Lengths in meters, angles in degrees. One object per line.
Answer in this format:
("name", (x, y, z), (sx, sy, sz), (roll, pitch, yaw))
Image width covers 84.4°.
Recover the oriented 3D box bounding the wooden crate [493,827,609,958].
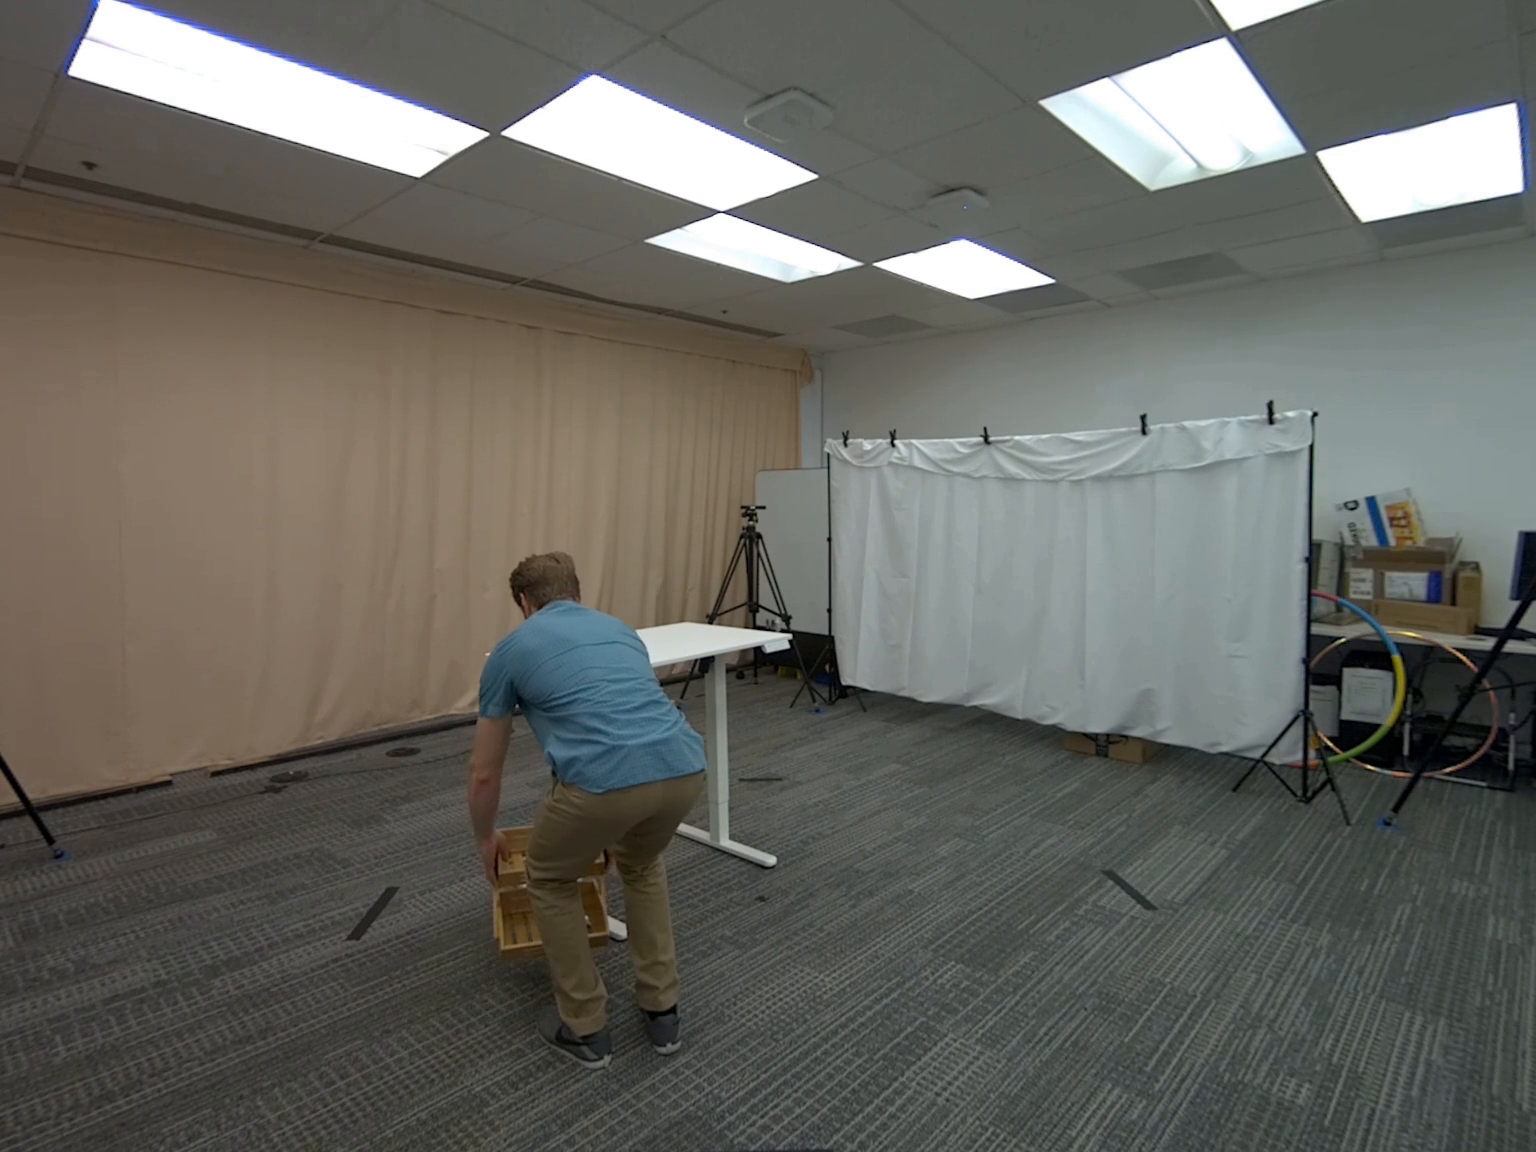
("wooden crate", (-0.638, 0.911, 2.452), (0.318, 0.272, 0.309), (-1, 6, -21))
